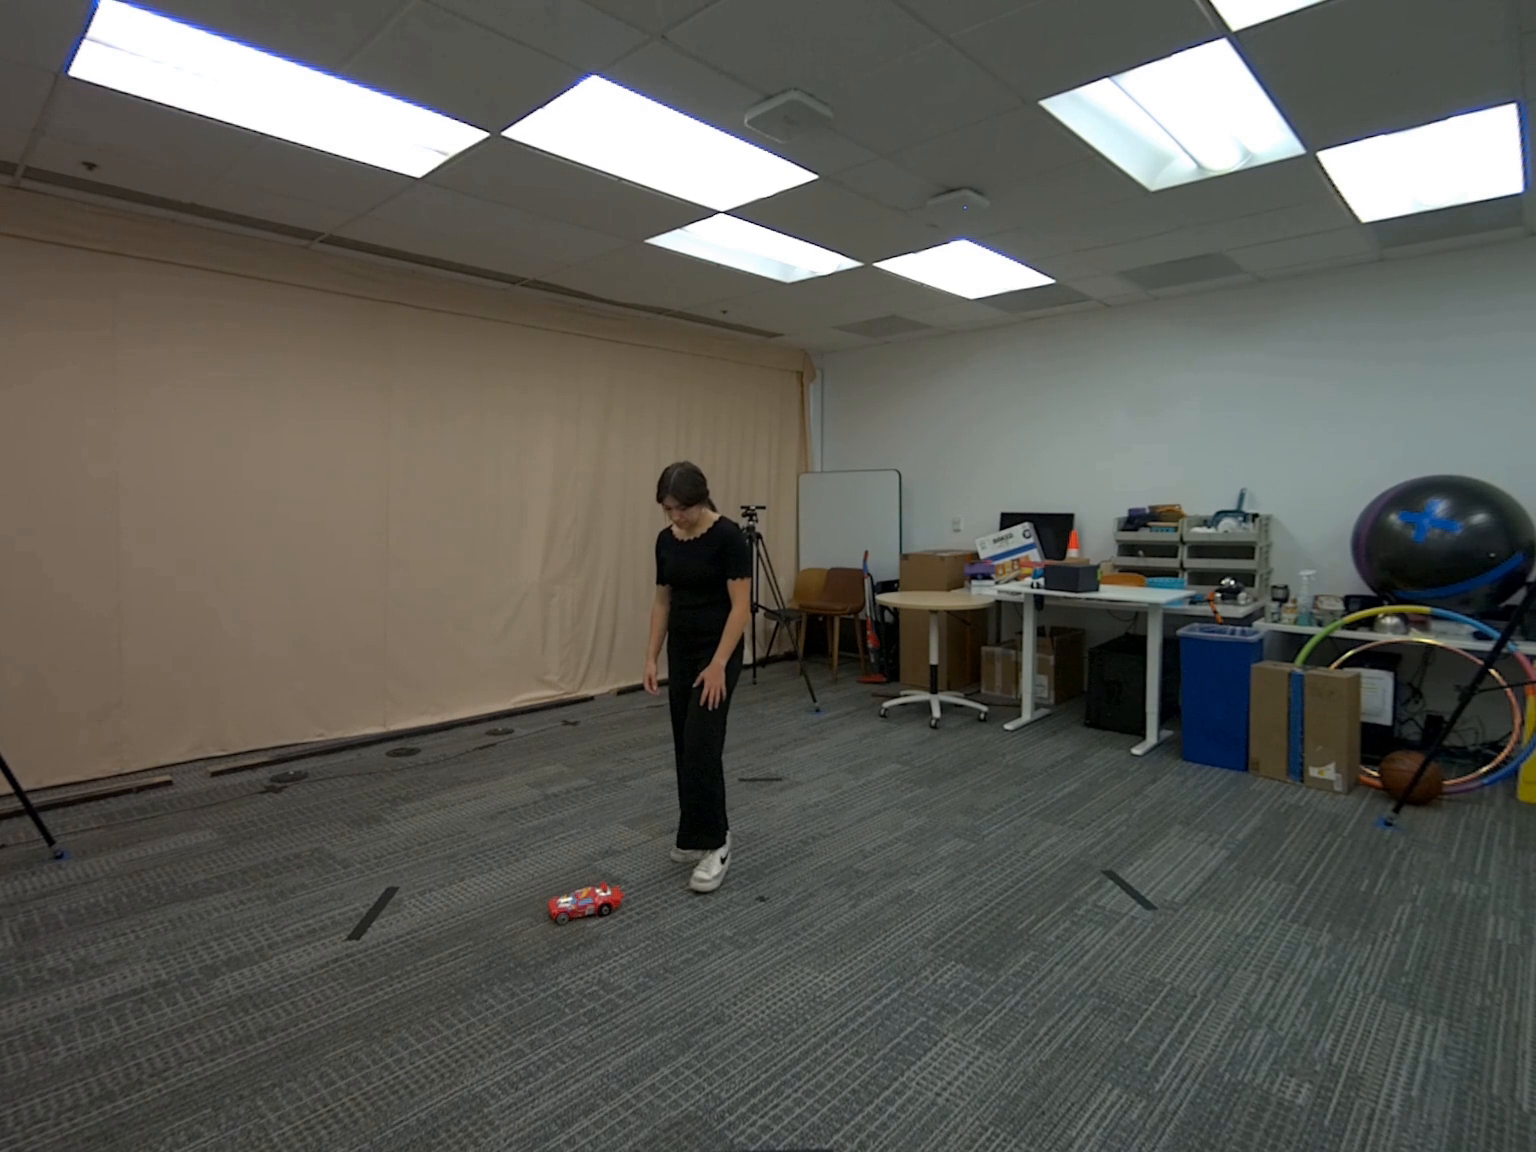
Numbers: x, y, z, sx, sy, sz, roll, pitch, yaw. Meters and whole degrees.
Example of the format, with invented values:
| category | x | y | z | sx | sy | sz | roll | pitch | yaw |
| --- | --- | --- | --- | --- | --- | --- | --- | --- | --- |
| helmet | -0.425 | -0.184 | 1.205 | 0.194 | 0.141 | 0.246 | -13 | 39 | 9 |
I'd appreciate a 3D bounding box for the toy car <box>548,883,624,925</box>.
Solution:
| category | x | y | z | sx | sy | sz | roll | pitch | yaw |
| --- | --- | --- | --- | --- | --- | --- | --- | --- | --- |
| toy car | -0.624 | 1.126 | 2.889 | 0.250 | 0.083 | 0.133 | -13 | 8 | -21 |
